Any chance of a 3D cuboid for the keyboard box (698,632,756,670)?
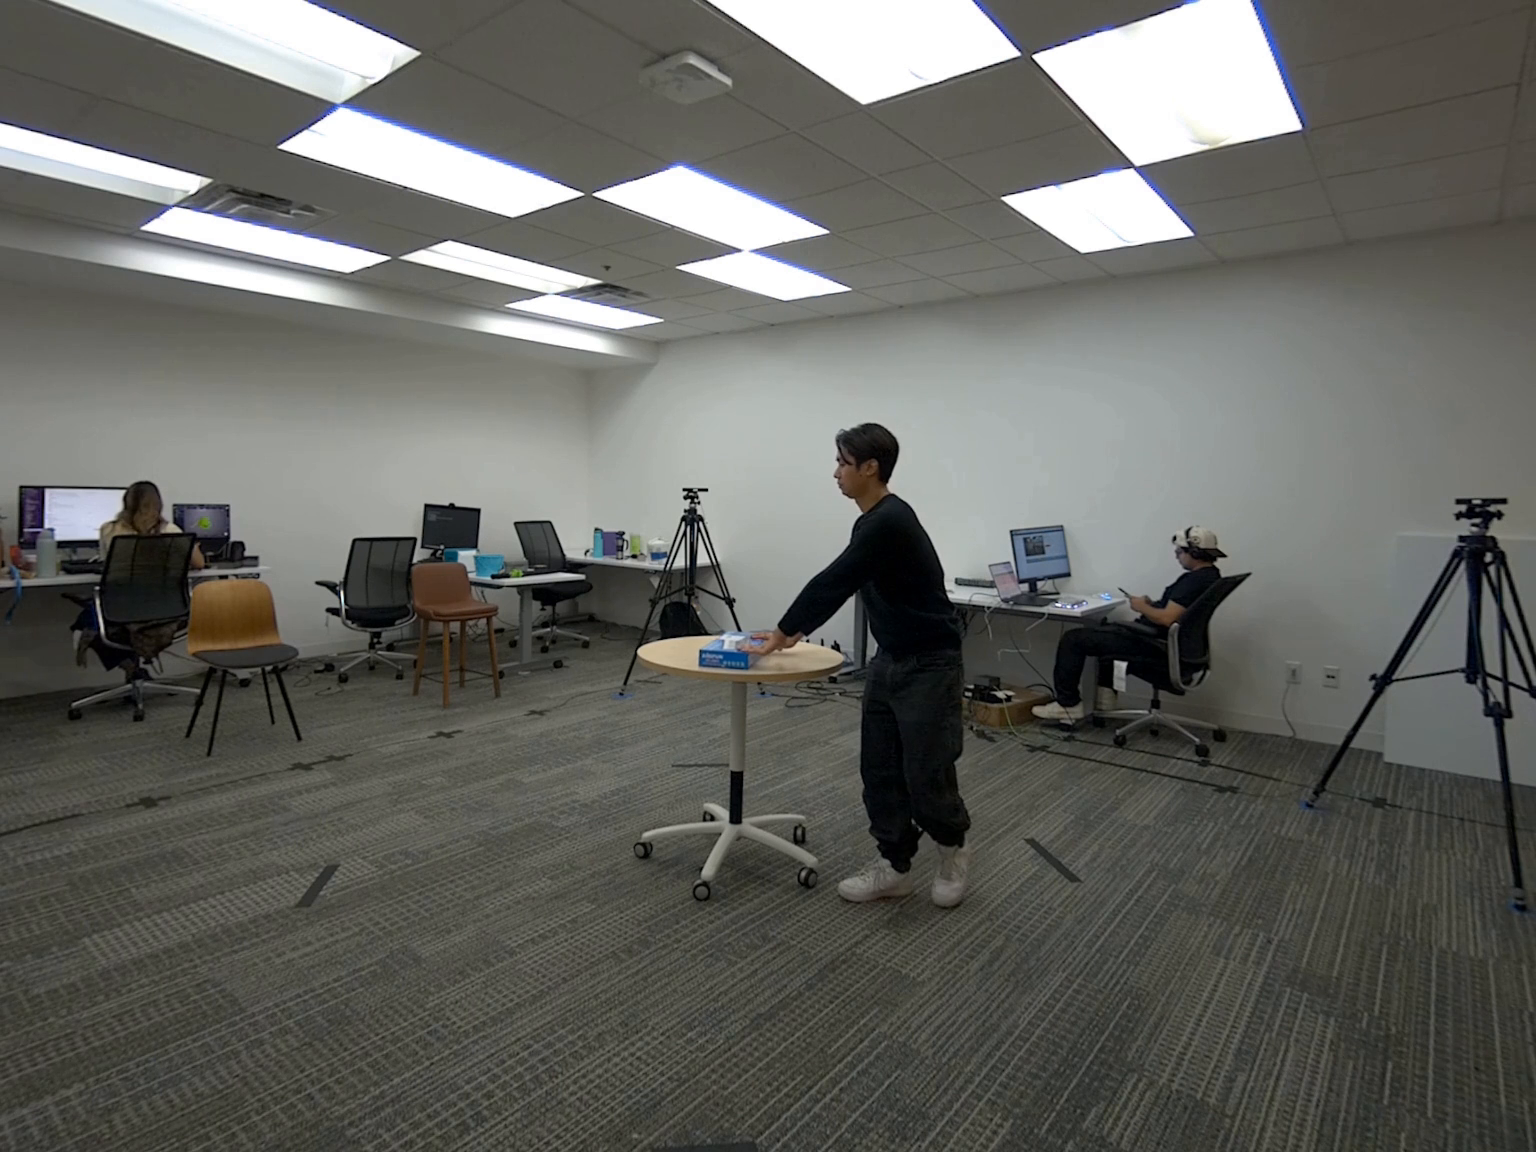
[{"bbox_3d":[-0.117,0.261,3.084,0.178,0.059,0.432,2,5,11],"label":"keyboard box"}]
